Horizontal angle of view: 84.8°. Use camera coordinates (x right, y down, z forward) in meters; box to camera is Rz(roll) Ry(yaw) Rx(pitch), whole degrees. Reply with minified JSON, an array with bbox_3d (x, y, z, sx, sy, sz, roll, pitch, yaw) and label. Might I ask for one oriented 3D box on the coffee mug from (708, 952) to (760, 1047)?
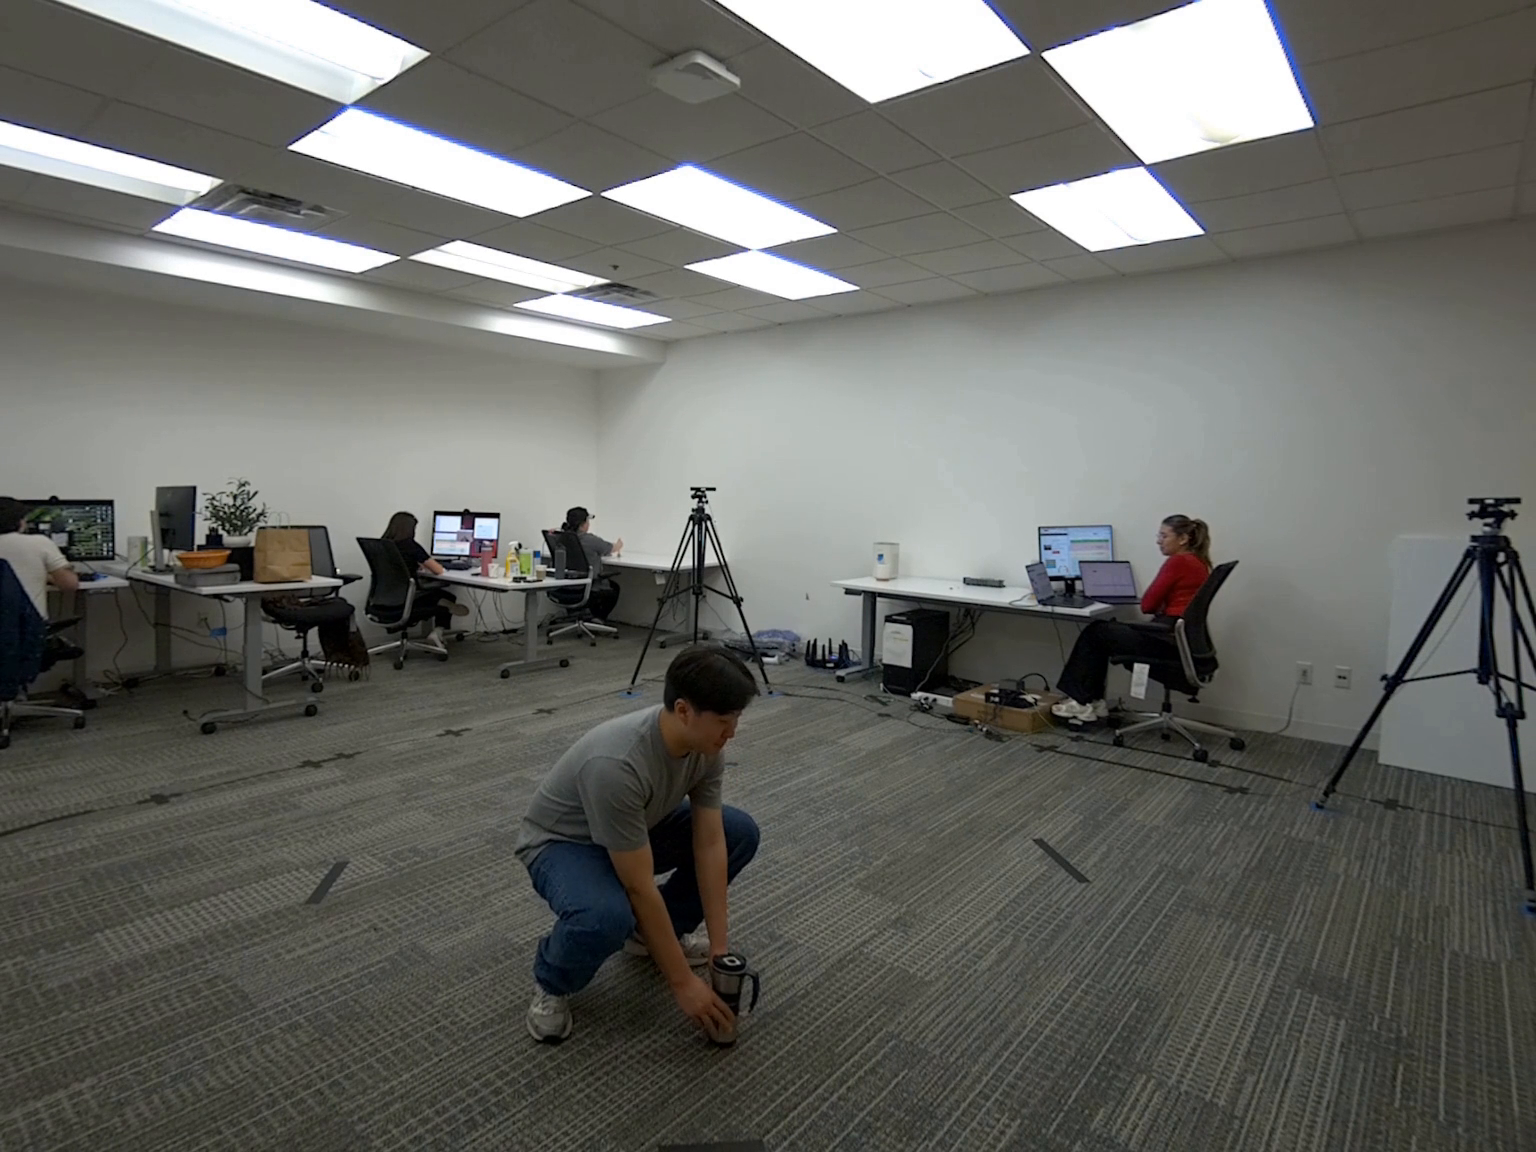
[{"bbox_3d":[-0.093,1.063,2.112,0.126,0.203,0.085,2,-2,41],"label":"coffee mug"}]
